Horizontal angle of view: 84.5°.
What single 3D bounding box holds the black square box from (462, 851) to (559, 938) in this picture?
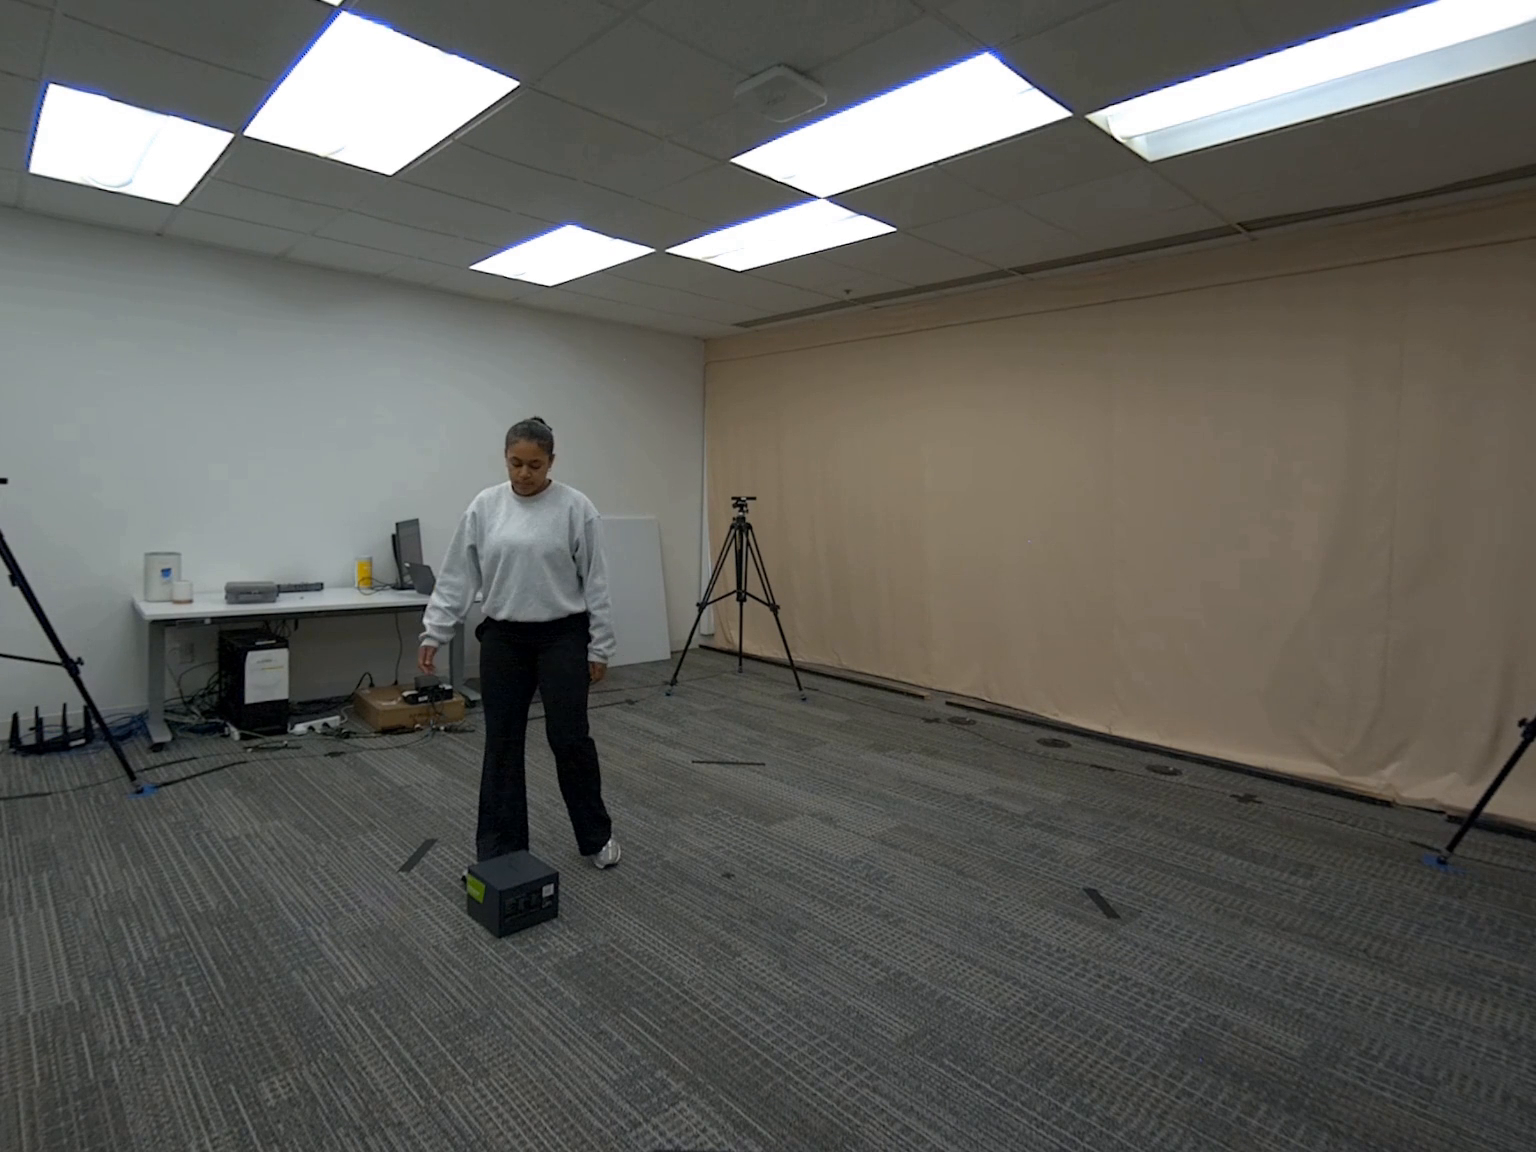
[{"bbox_3d":[-0.852,1.040,2.774,0.212,0.155,0.234,-3,6,-44],"label":"black square box"}]
